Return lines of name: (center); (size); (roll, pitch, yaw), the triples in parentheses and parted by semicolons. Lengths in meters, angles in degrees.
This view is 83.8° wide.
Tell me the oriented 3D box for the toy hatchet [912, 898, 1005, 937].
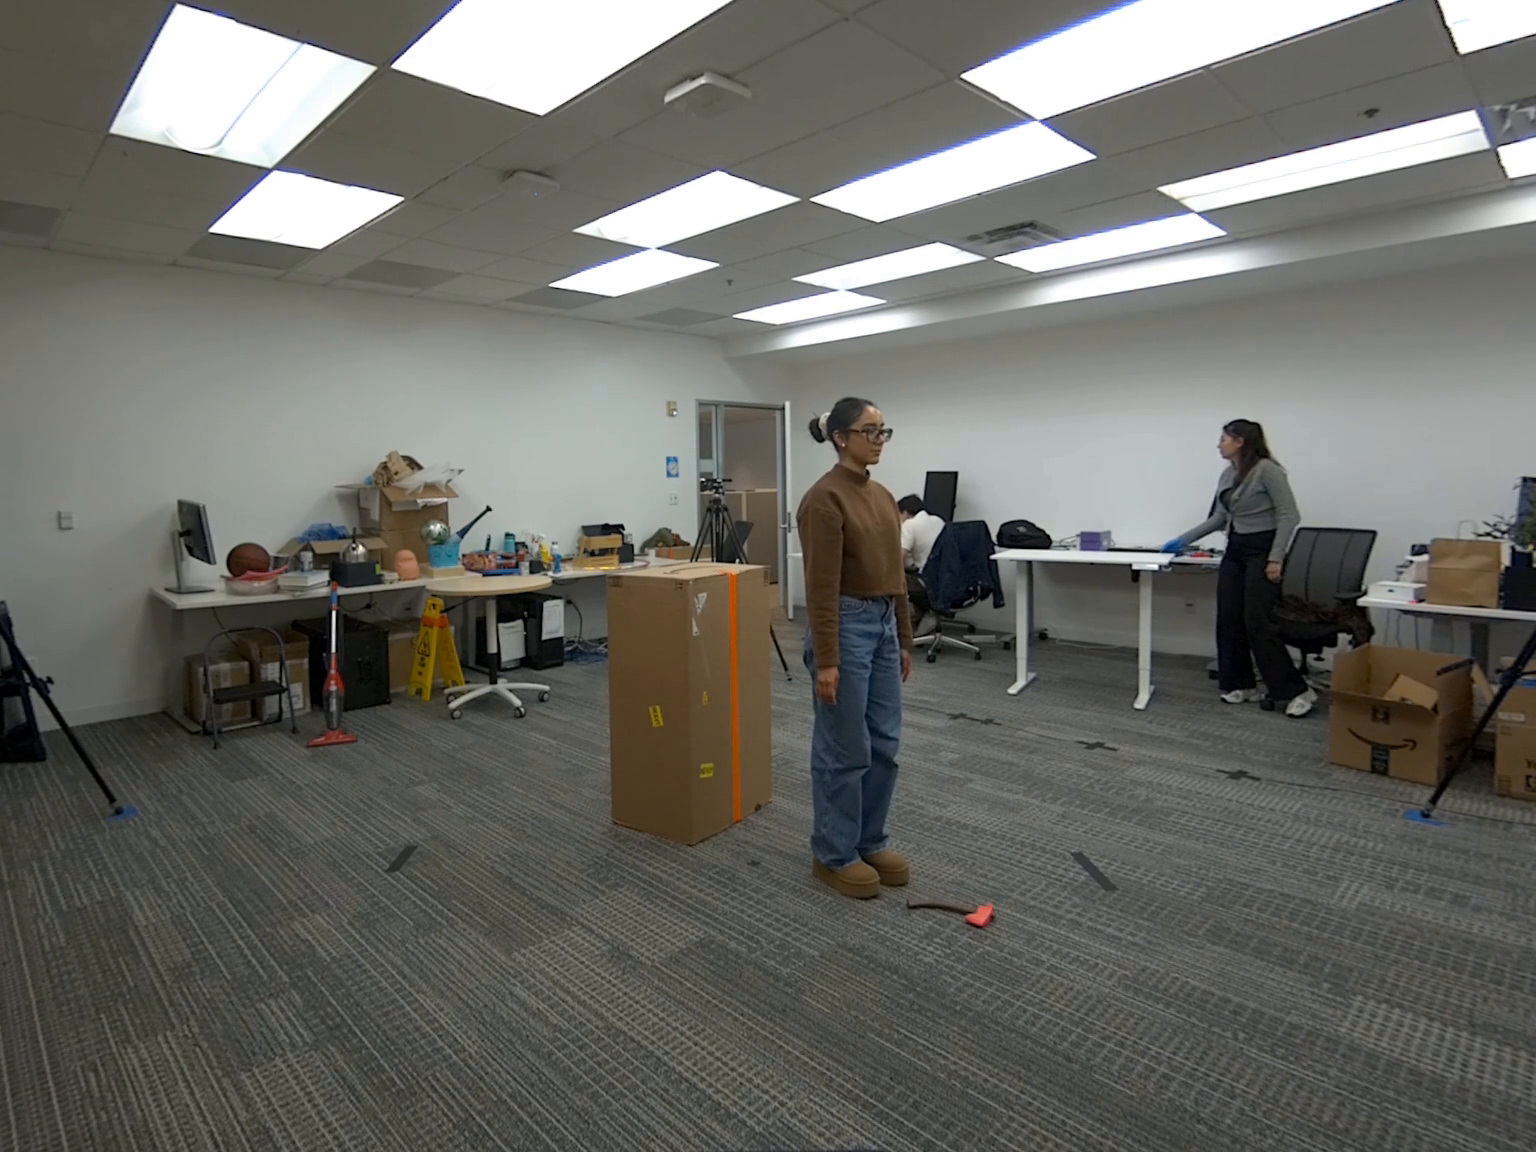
toy hatchet: (0.594, 1.073, 2.702); (0.273, 0.029, 0.130); (-2, 10, 12)
